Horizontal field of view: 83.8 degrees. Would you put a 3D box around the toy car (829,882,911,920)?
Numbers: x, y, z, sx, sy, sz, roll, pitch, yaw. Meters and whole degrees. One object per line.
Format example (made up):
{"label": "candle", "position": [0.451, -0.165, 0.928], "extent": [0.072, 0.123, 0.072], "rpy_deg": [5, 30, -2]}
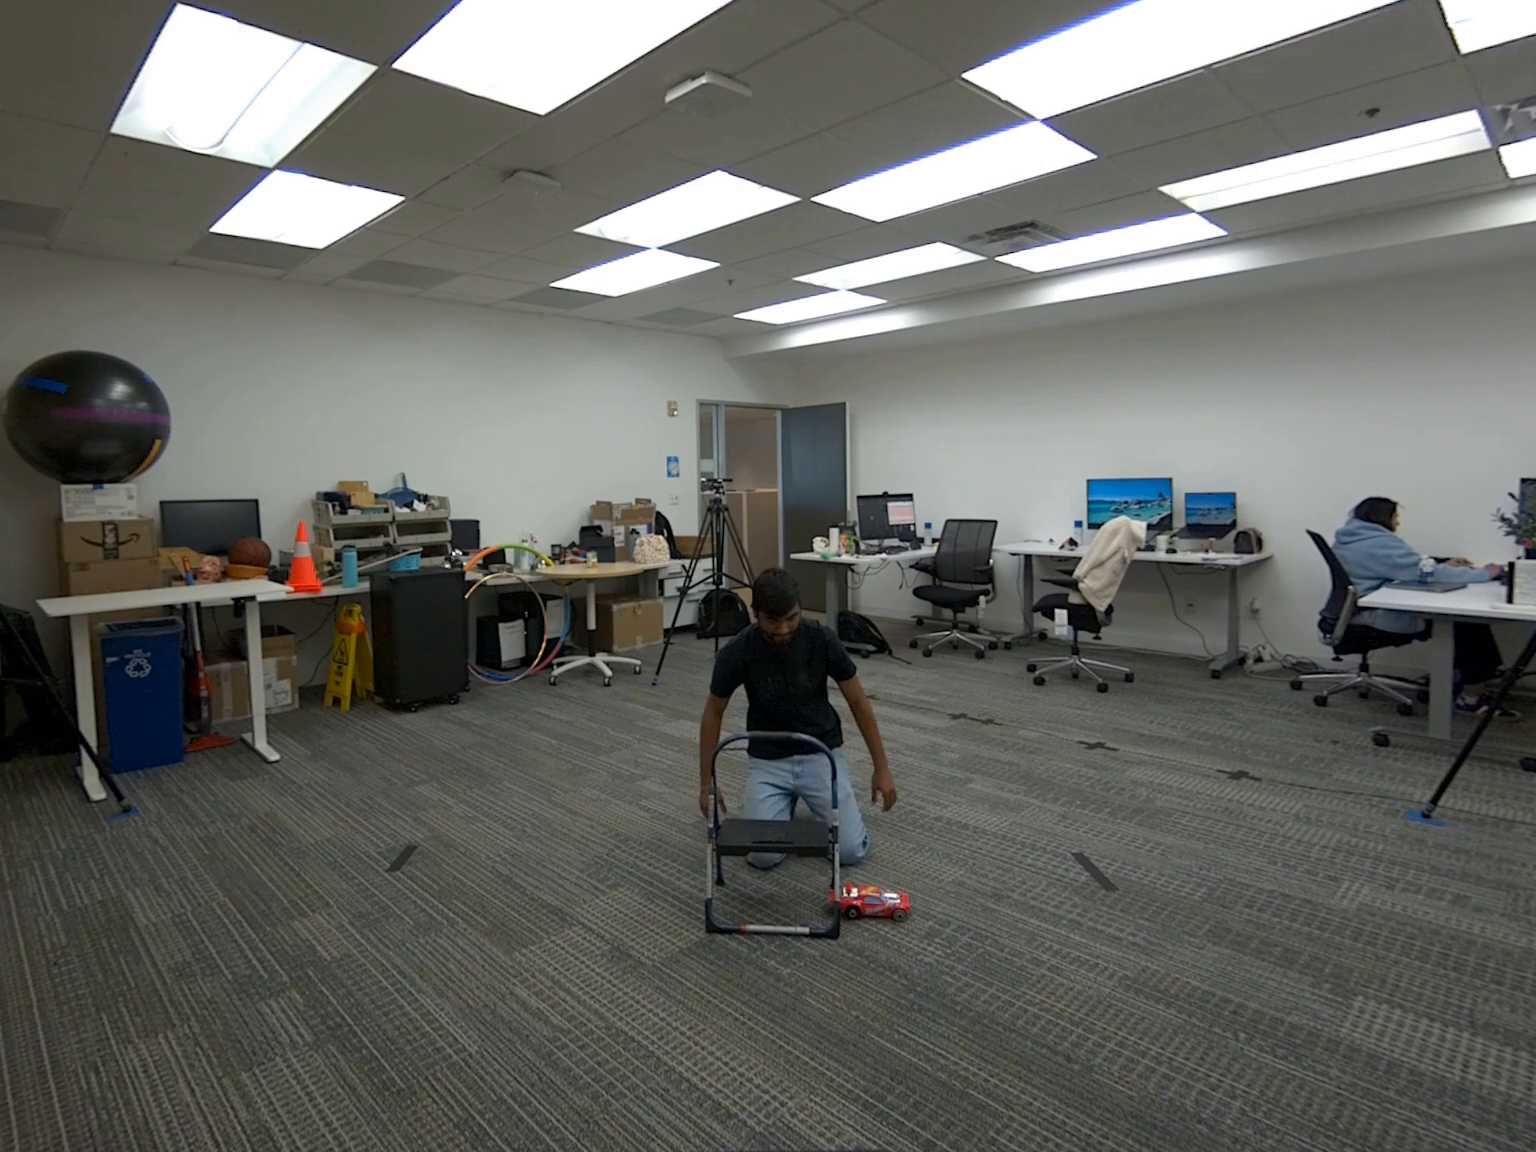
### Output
{"label": "toy car", "position": [0.329, 1.064, 2.737], "extent": [0.258, 0.083, 0.129], "rpy_deg": [15, 6, 10]}
